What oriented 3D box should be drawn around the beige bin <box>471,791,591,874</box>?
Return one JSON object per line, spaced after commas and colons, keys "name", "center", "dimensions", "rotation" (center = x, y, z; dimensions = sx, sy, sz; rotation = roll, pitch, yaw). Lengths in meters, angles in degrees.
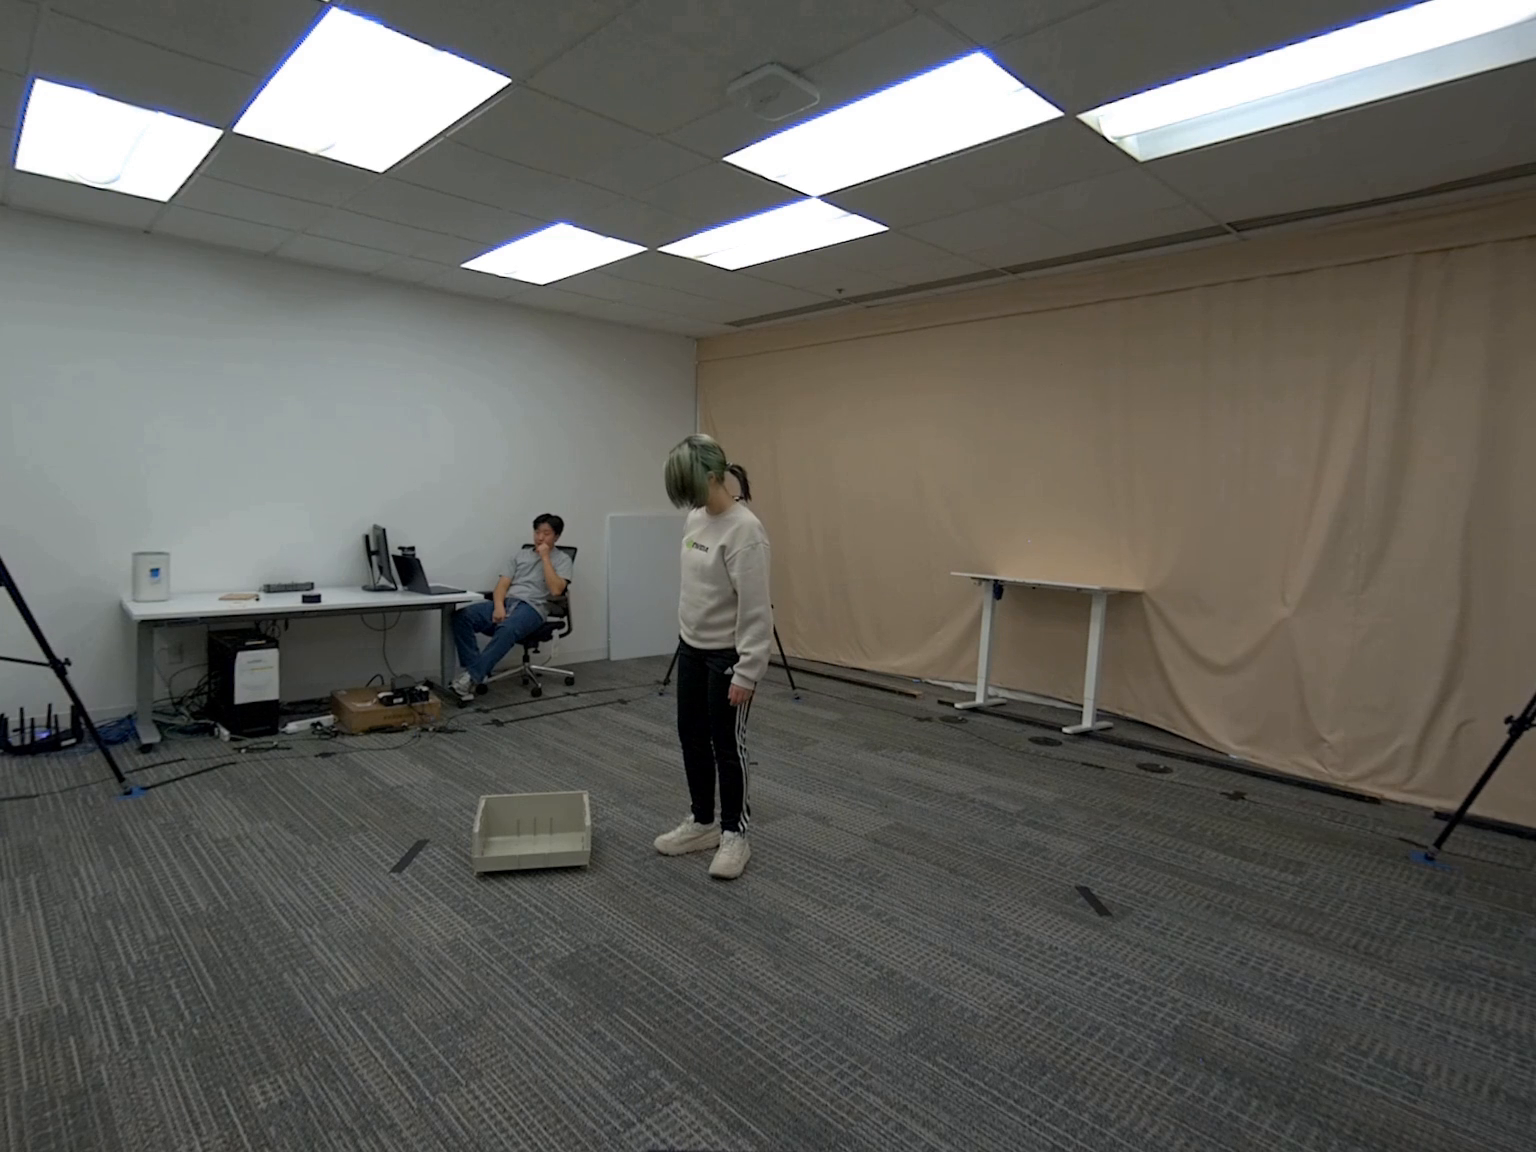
{"name": "beige bin", "center": [-0.902, 0.986, 3.217], "dimensions": [0.418, 0.188, 0.382], "rotation": [-1, 4, -14]}
